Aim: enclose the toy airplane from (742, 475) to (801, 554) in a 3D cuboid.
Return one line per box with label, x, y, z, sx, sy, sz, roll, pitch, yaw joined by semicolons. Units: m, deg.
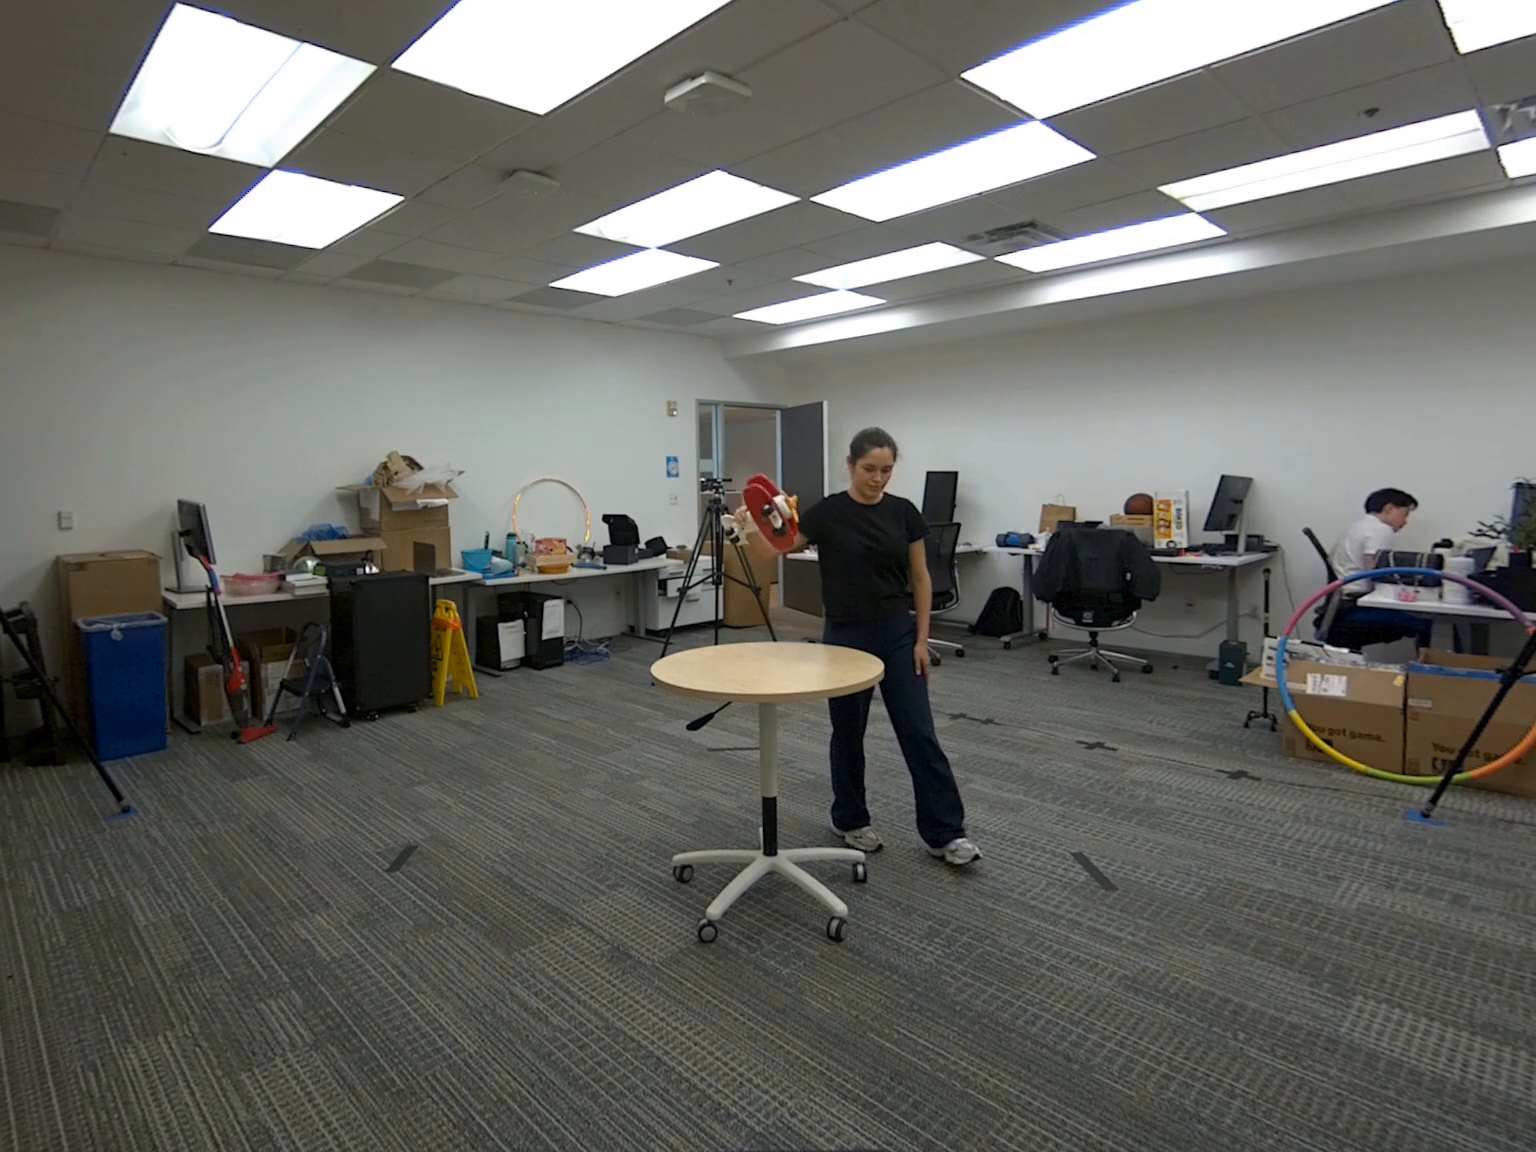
toy airplane;-0.030;-0.196;2.868;0.265;0.244;0.157;10;36;21
